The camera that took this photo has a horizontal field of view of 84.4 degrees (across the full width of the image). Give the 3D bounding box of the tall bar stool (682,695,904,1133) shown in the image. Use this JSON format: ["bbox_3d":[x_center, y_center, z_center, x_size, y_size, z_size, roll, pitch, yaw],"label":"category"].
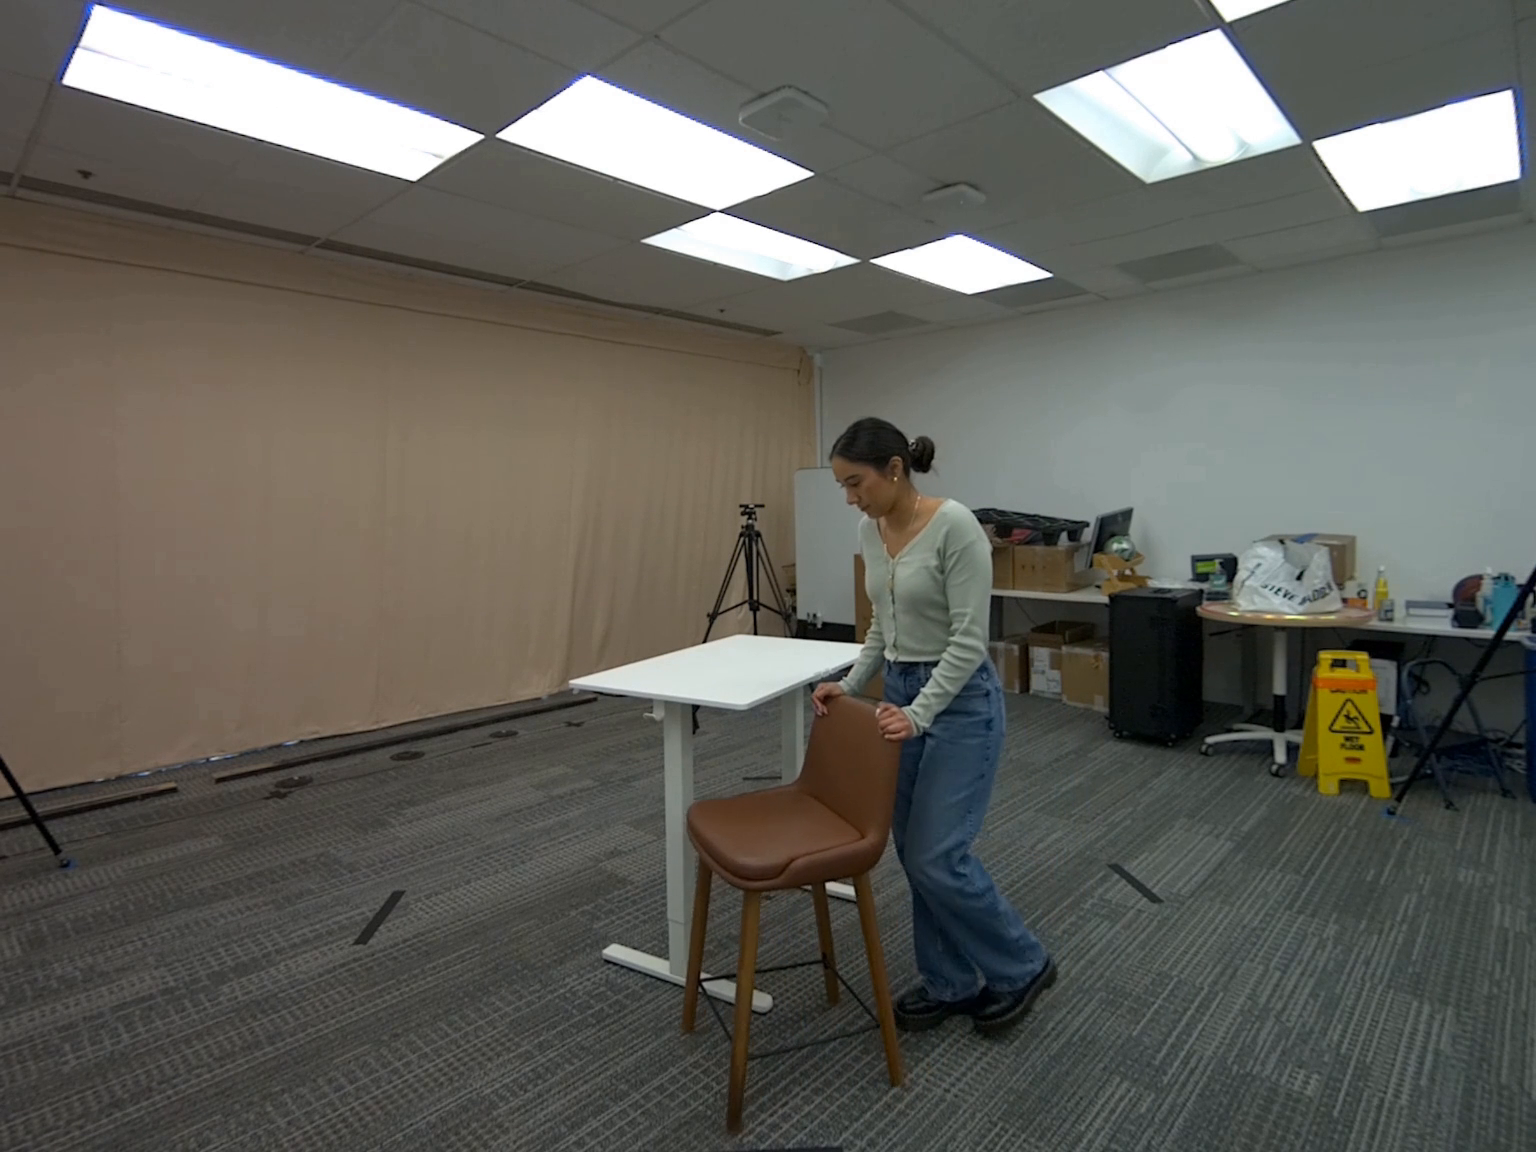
[{"bbox_3d":[0.059,0.783,2.094,0.458,0.888,0.466,0,3,-20],"label":"tall bar stool"}]
